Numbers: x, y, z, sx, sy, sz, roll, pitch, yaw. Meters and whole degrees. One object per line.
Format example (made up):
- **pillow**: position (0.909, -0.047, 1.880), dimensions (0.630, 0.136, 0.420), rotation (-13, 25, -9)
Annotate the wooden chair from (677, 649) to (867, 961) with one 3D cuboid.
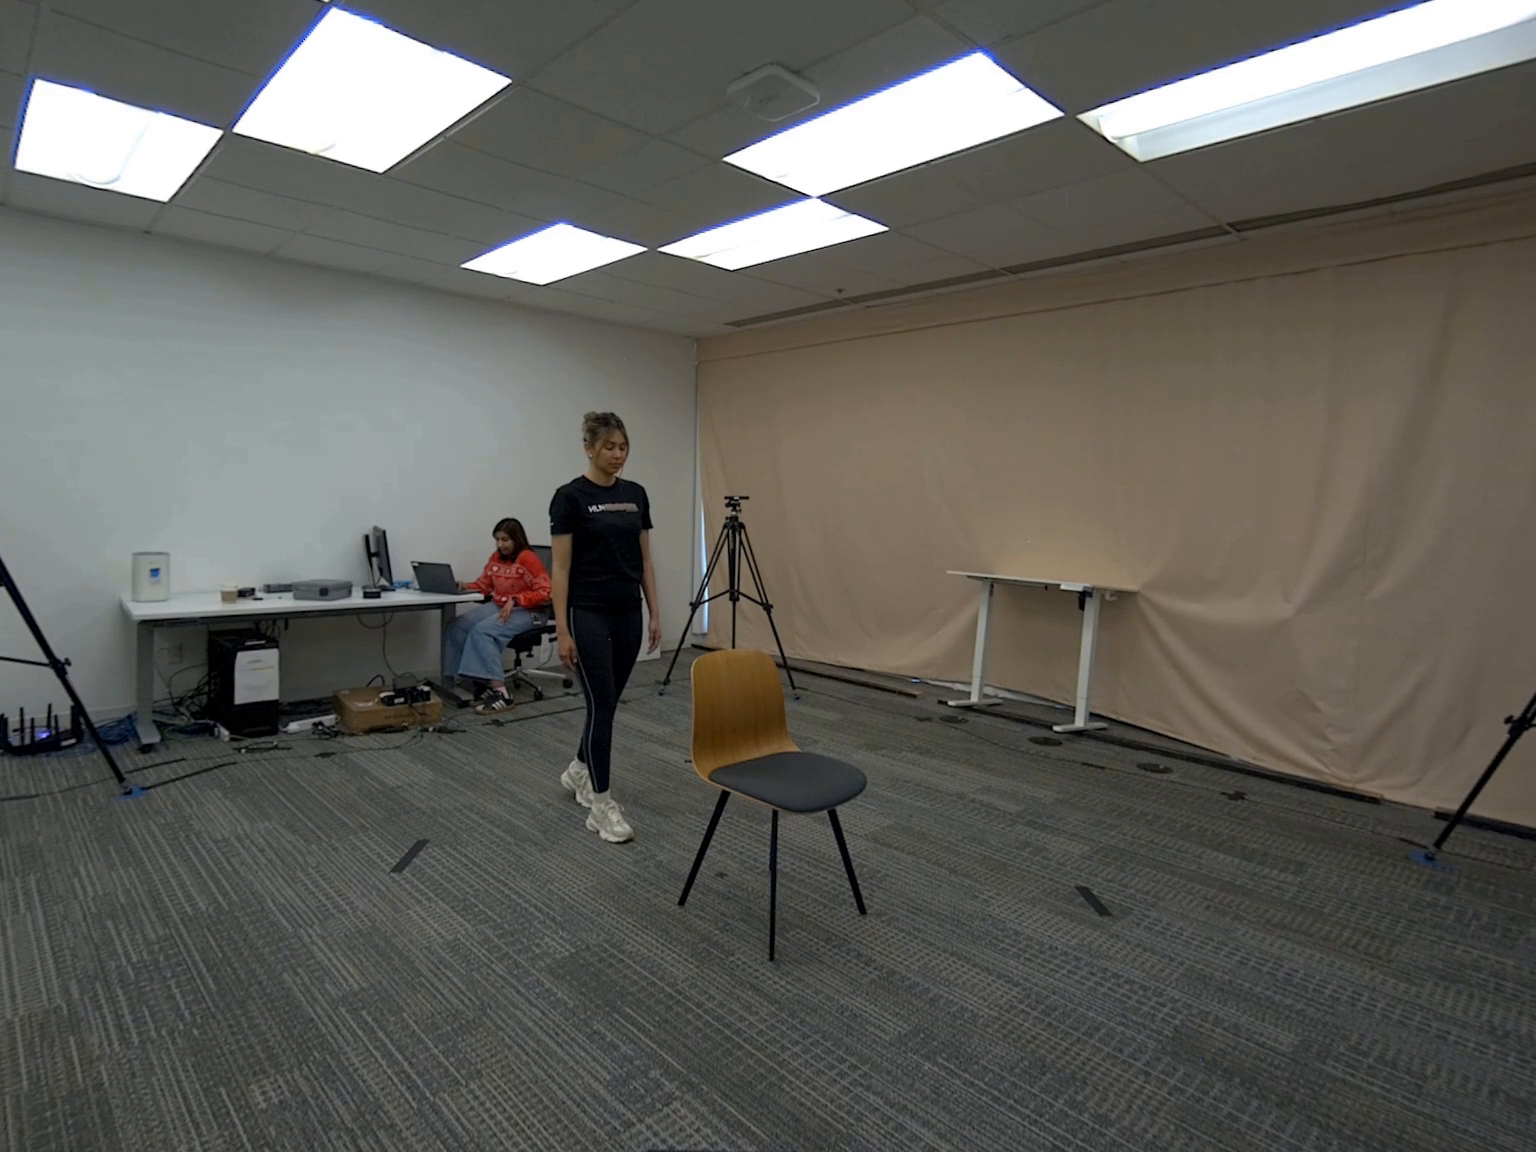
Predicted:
- **wooden chair**: position (0.026, 0.707, 2.807), dimensions (0.467, 0.877, 0.535), rotation (-2, 0, -43)
